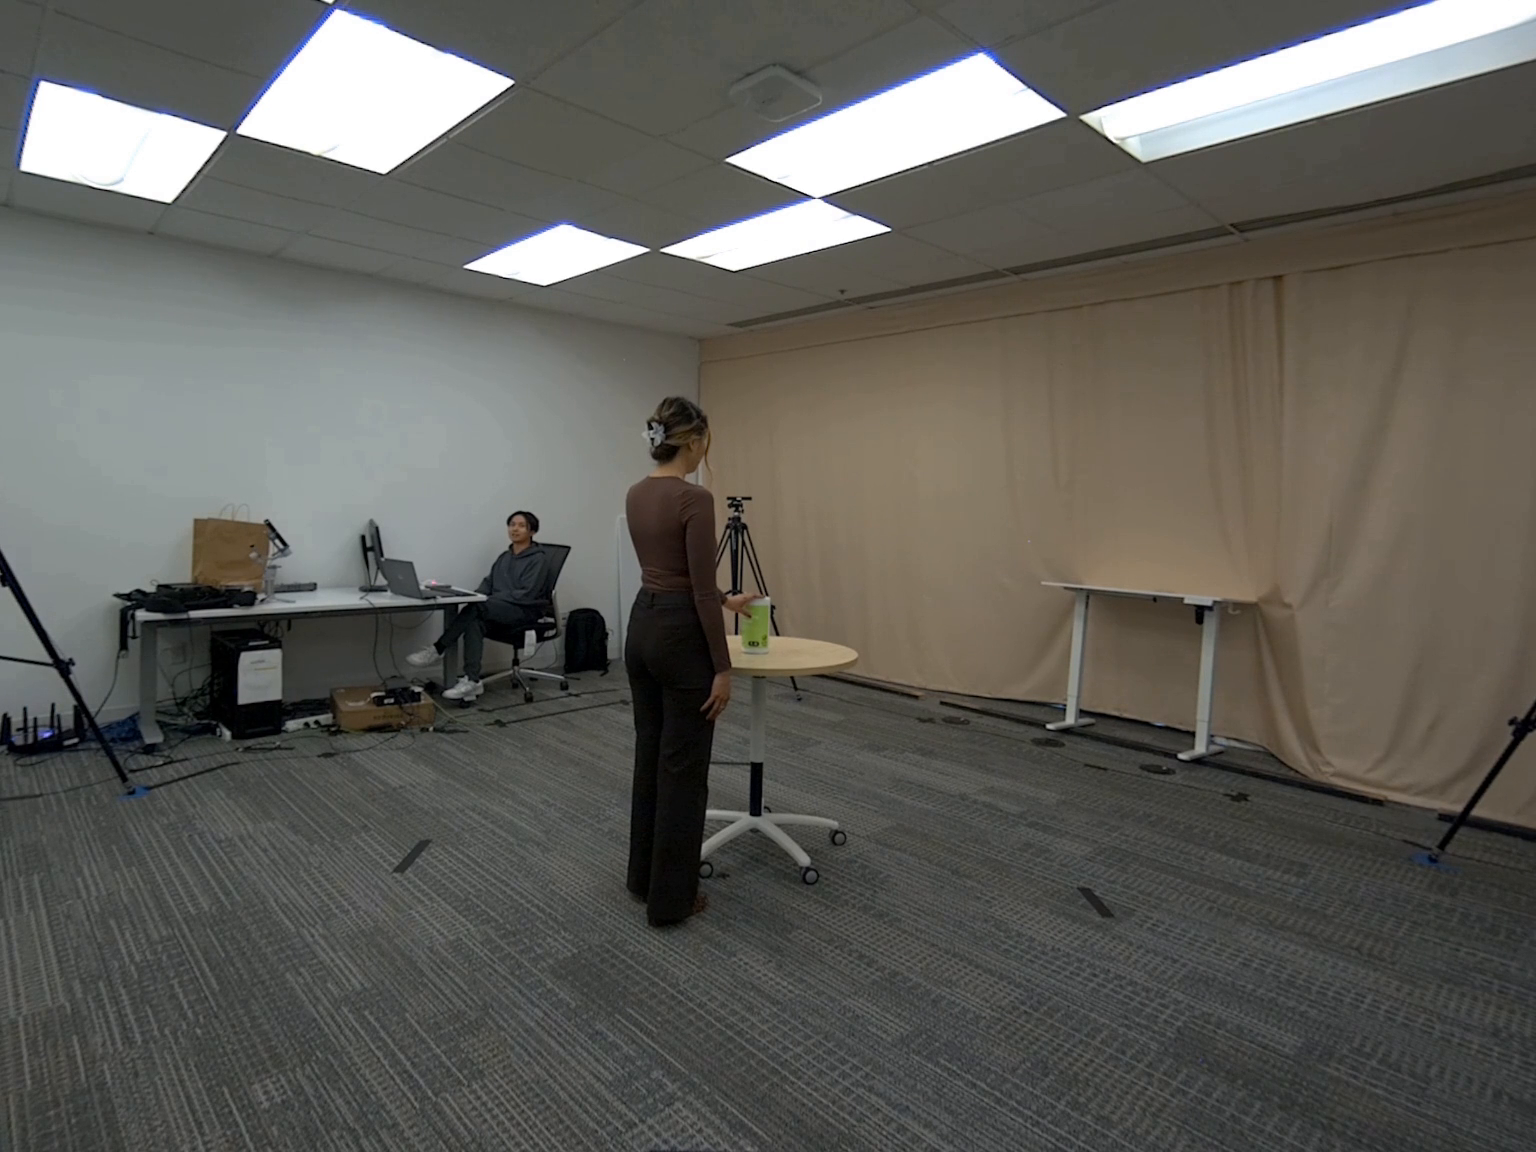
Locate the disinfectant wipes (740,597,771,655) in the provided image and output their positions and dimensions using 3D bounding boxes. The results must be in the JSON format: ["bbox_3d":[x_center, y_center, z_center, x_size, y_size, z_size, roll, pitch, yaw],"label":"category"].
[{"bbox_3d":[-0.057,0.190,3.267,0.118,0.217,0.118,-1,3,-1],"label":"disinfectant wipes"}]
